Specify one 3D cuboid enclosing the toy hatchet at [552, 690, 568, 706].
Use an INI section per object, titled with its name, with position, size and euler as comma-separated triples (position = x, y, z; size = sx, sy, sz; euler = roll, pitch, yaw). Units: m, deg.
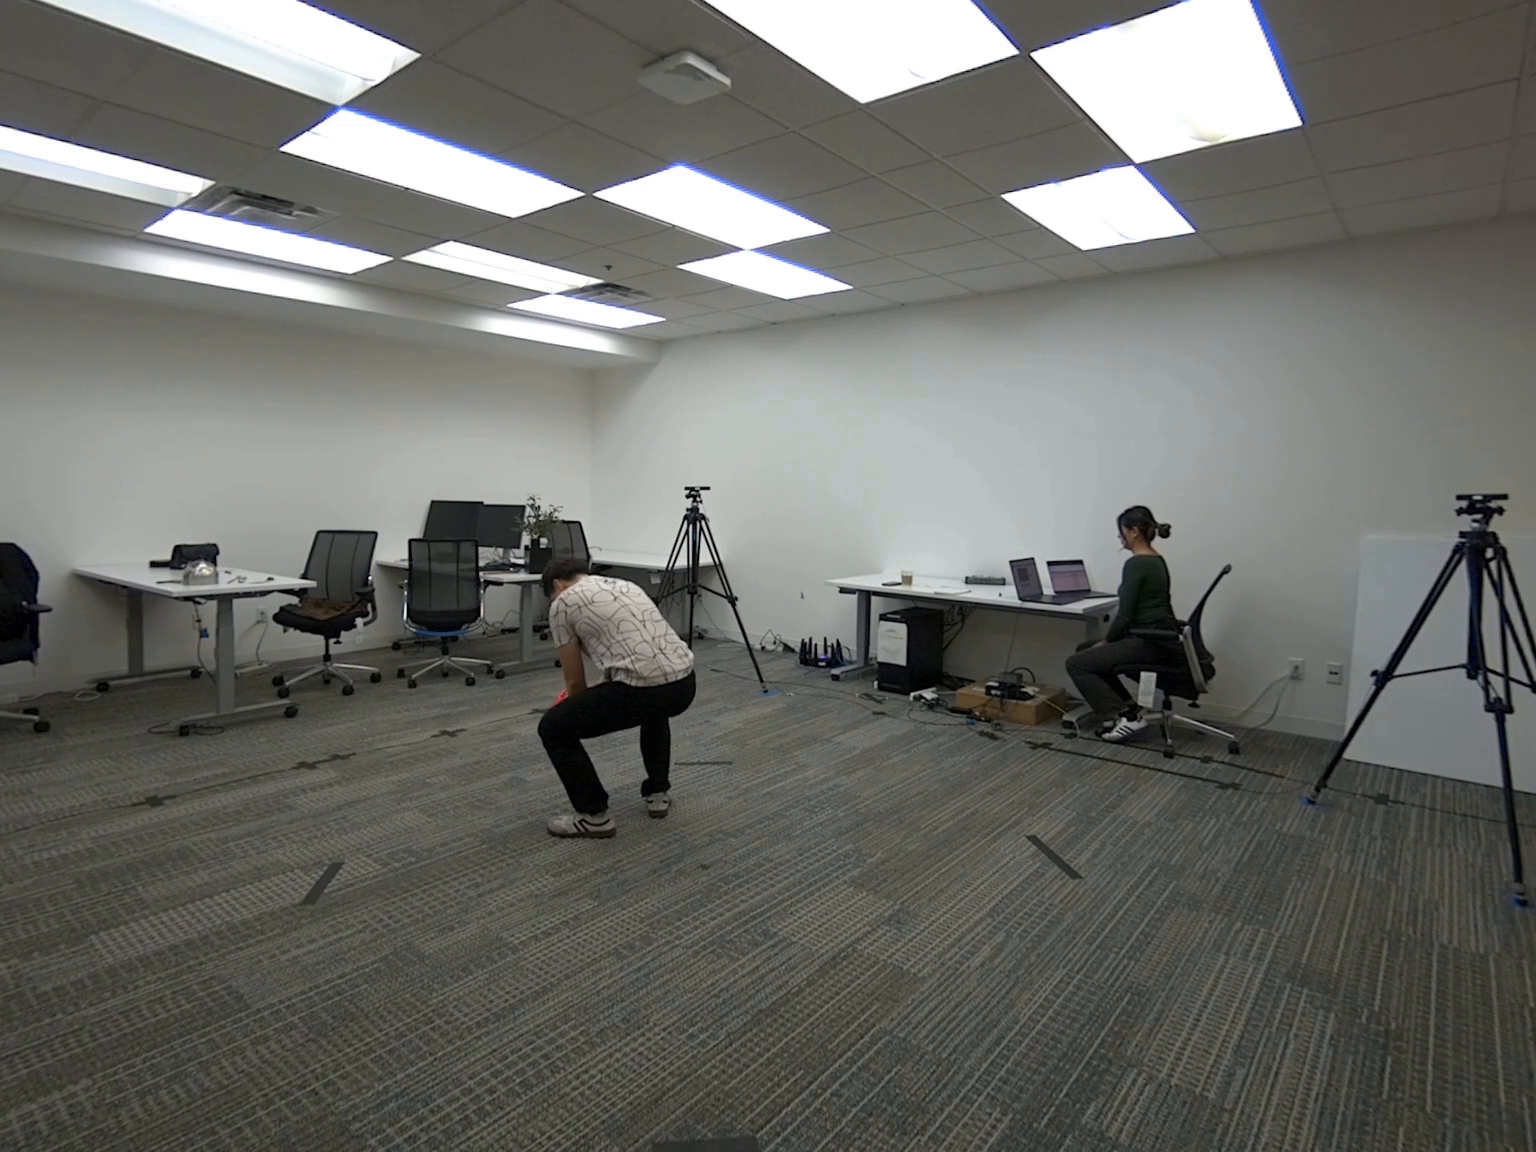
[toy hatchet]
position = -0.895, 0.614, 3.735
size = 0.028, 0.131, 0.282
euler = 45, -1, -44
